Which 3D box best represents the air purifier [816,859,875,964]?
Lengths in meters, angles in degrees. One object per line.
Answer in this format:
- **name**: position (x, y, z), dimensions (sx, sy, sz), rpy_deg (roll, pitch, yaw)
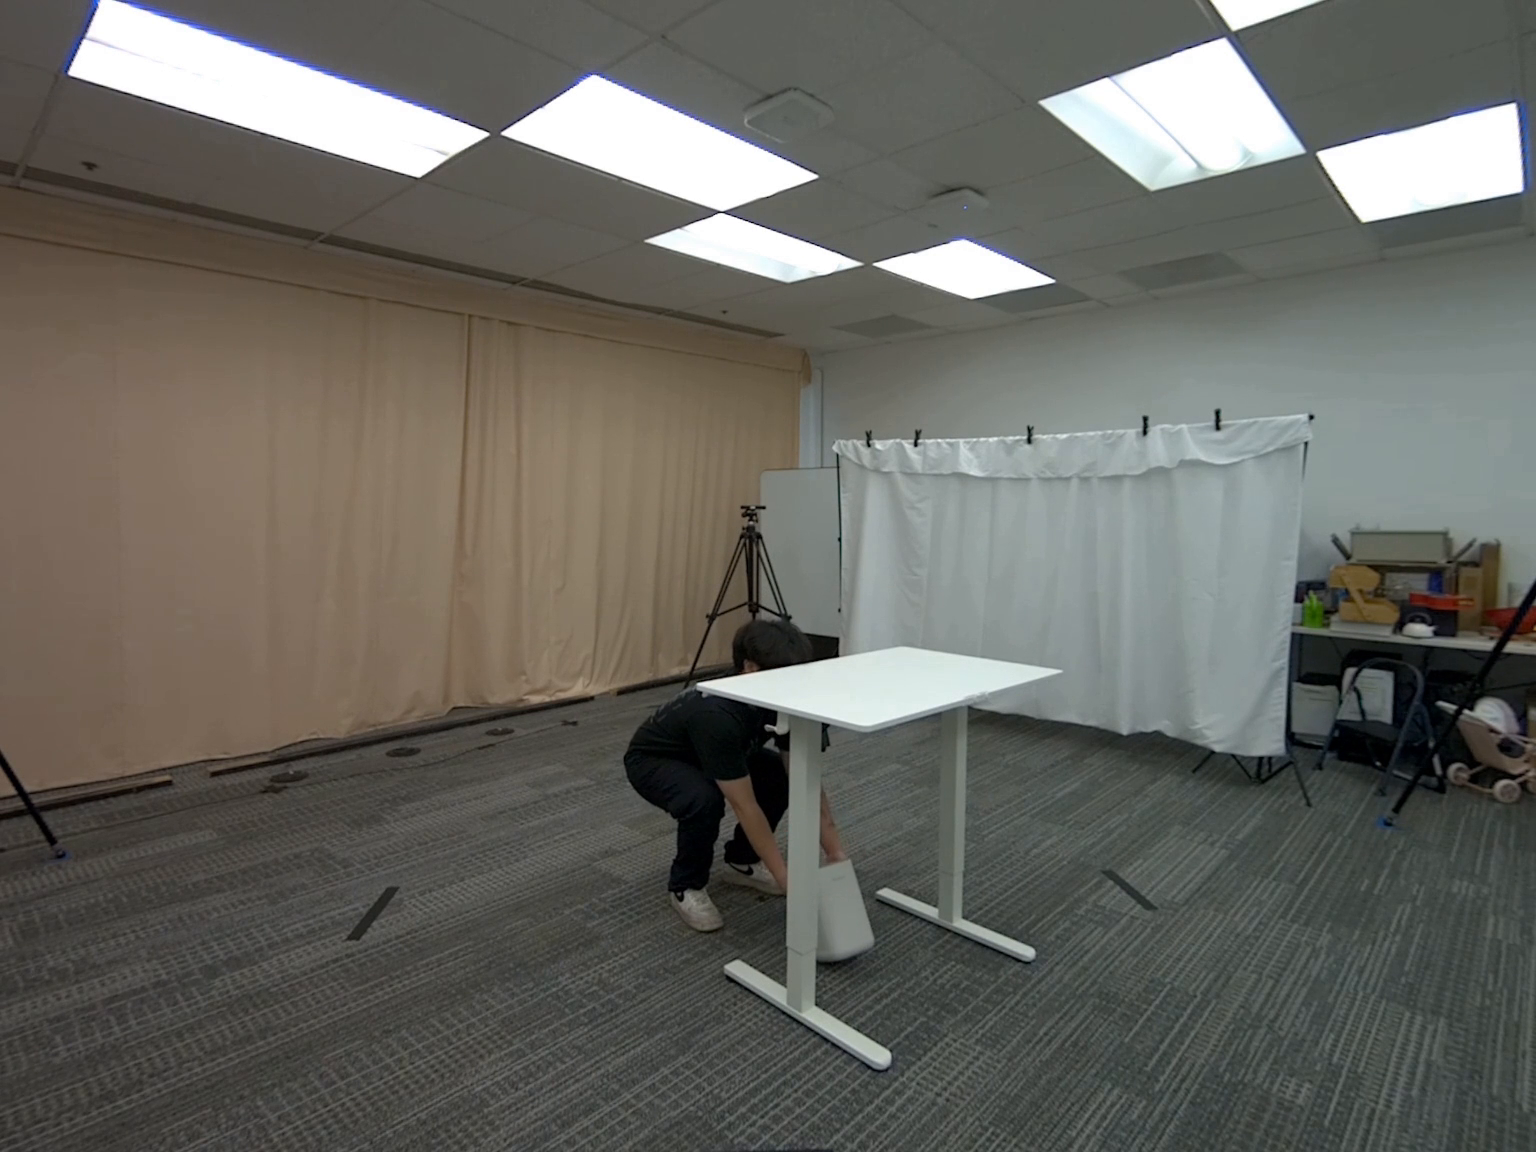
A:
- **air purifier**: position (0.205, 1.030, 2.597), dimensions (0.166, 0.270, 0.174), rpy_deg (-1, -23, -33)
